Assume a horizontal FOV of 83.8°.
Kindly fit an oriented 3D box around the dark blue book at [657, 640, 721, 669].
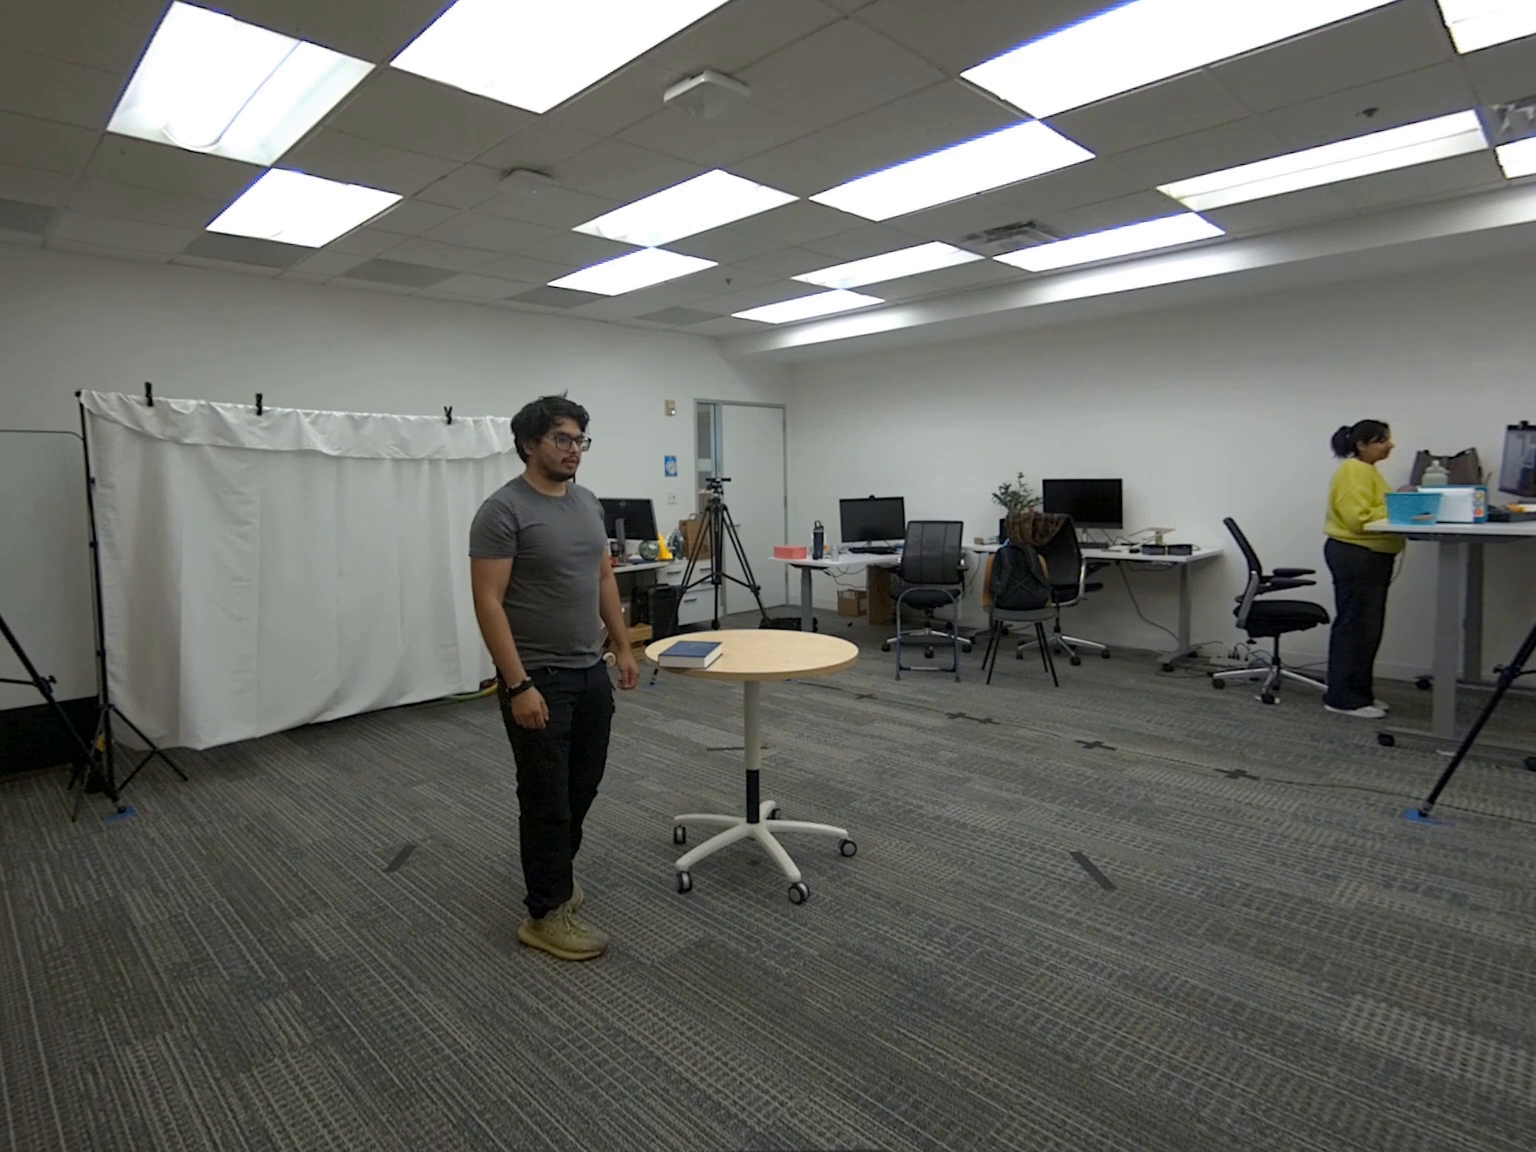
[{"bbox_3d":[-0.256,0.264,2.899,0.165,0.045,0.243,1,6,10],"label":"dark blue book"}]
